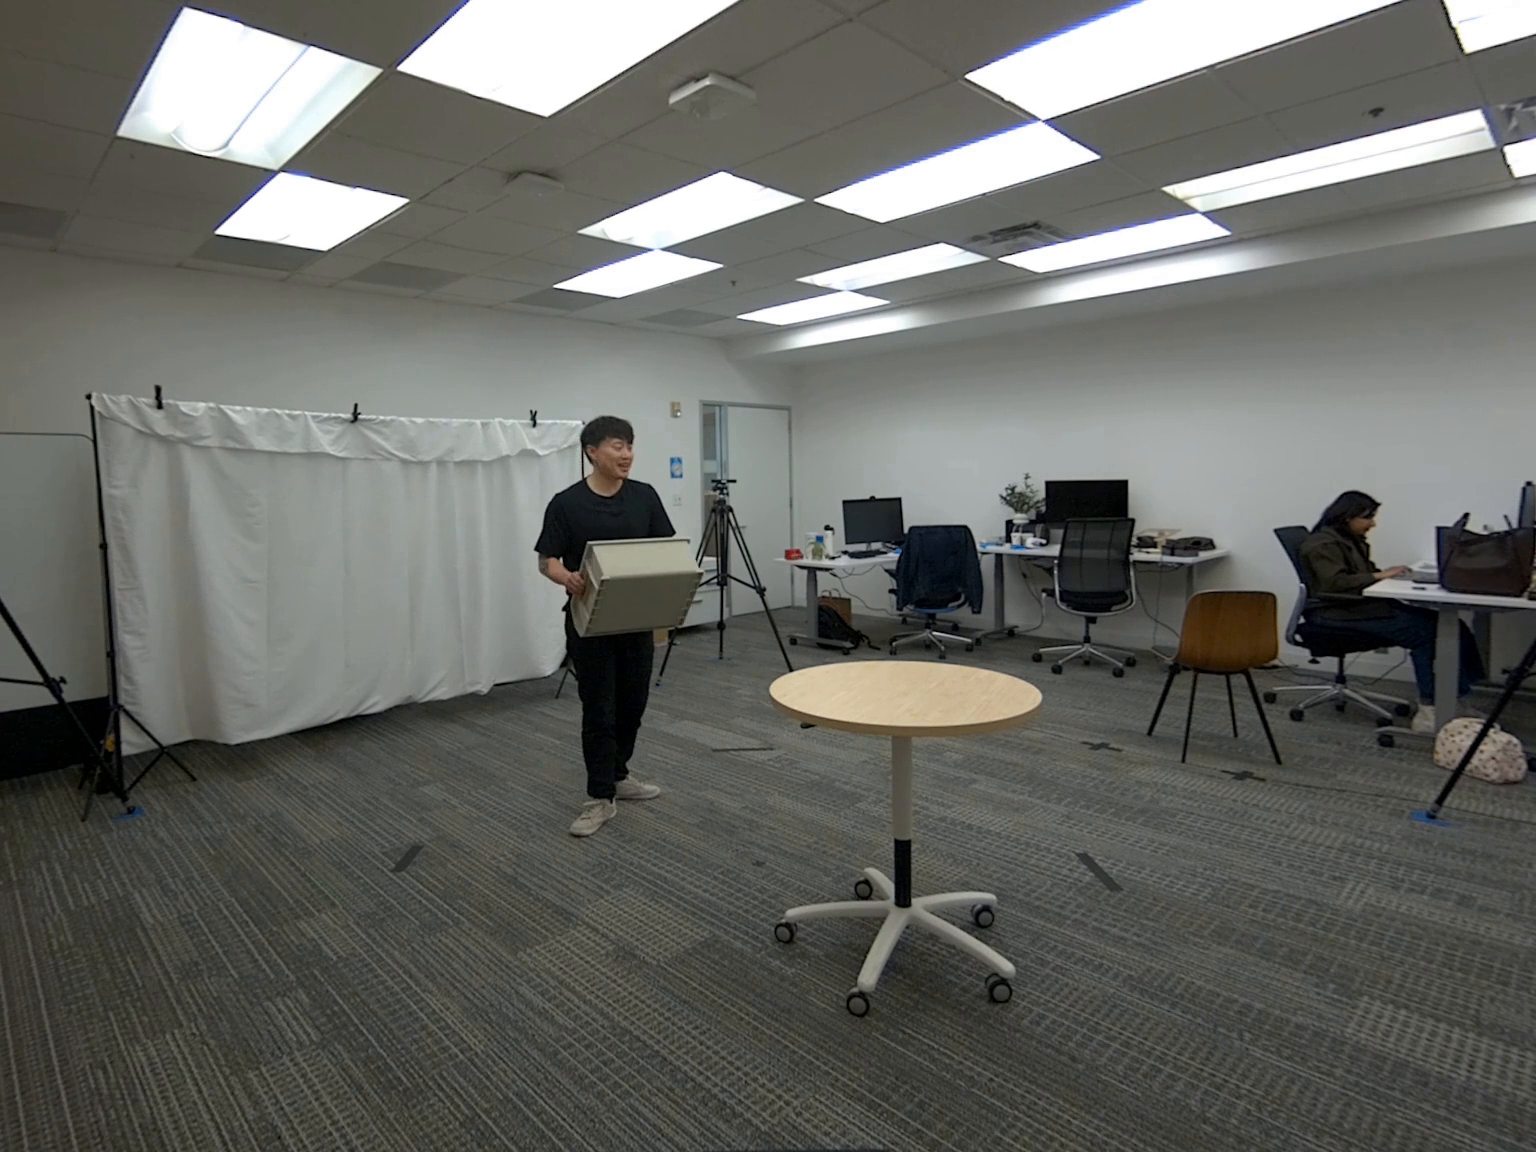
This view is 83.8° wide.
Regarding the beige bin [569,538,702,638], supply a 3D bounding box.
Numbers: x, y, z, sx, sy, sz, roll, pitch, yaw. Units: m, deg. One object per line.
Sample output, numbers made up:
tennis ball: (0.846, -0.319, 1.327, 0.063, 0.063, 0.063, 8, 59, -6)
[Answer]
beige bin: (-0.511, 0.057, 3.297, 0.413, 0.196, 0.372, -3, -41, -28)
